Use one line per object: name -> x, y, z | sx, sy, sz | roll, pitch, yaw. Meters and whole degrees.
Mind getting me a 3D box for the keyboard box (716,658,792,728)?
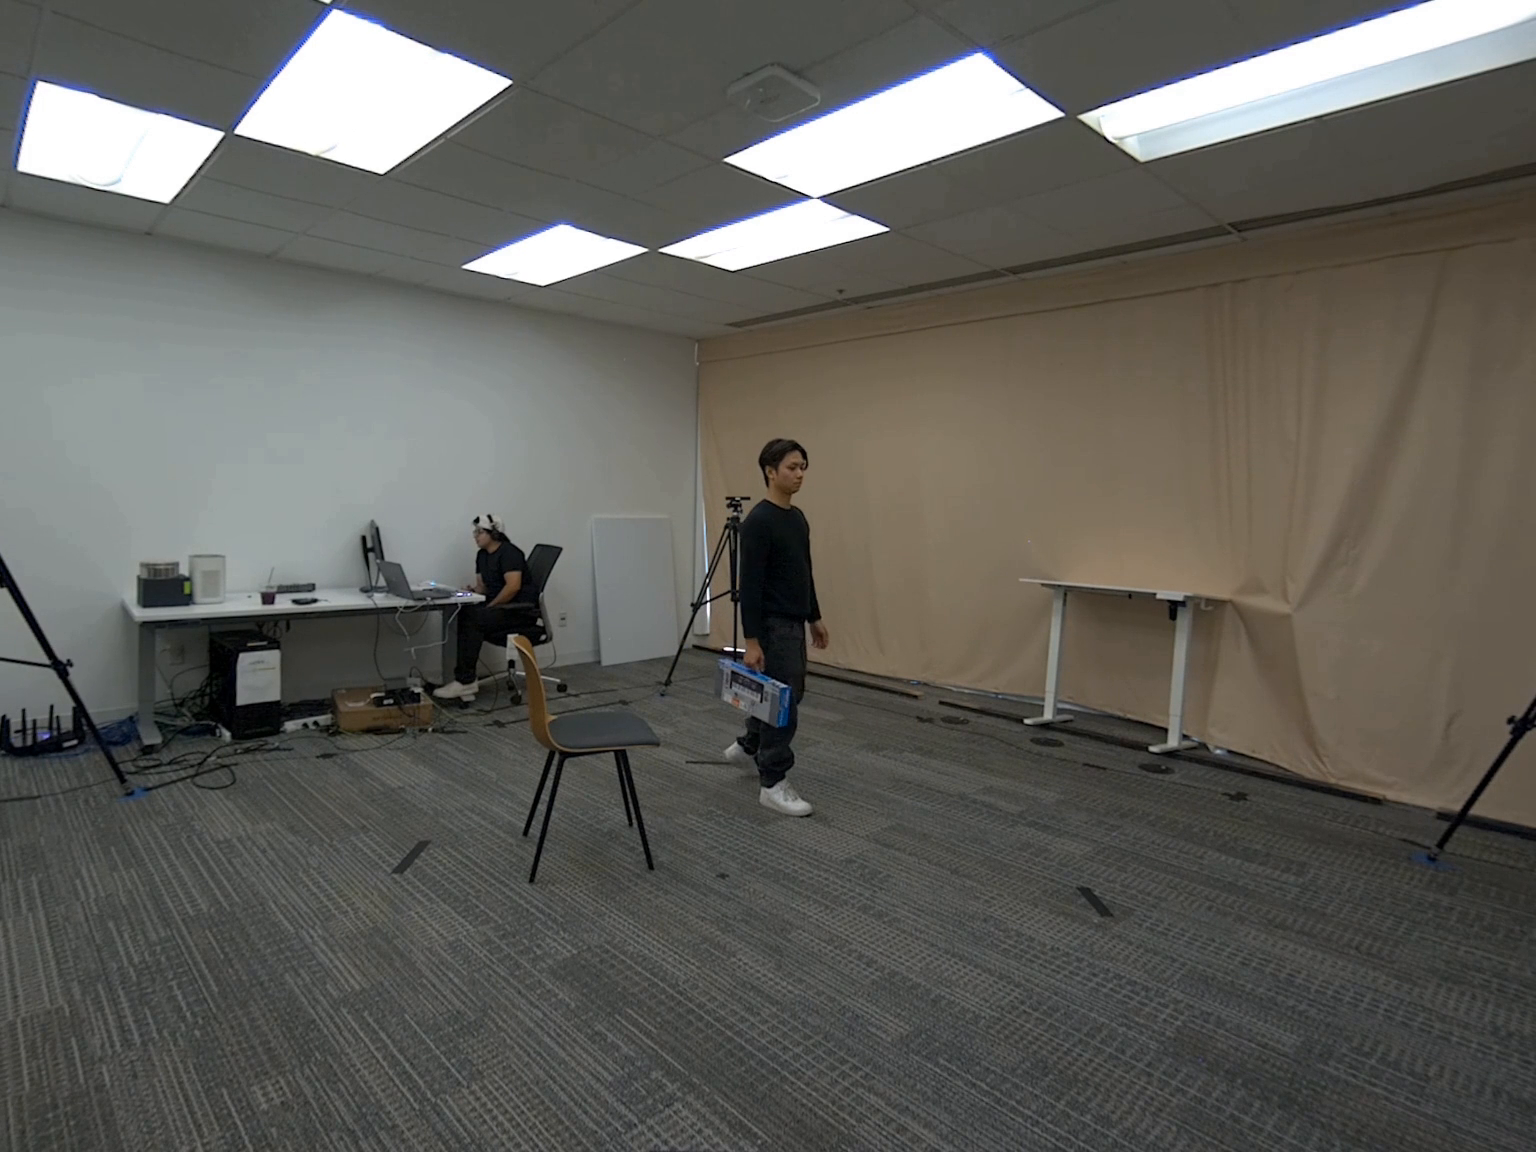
keyboard box -> -0.081, 0.505, 3.679 | 0.058, 0.175, 0.449 | -1, 11, -40
